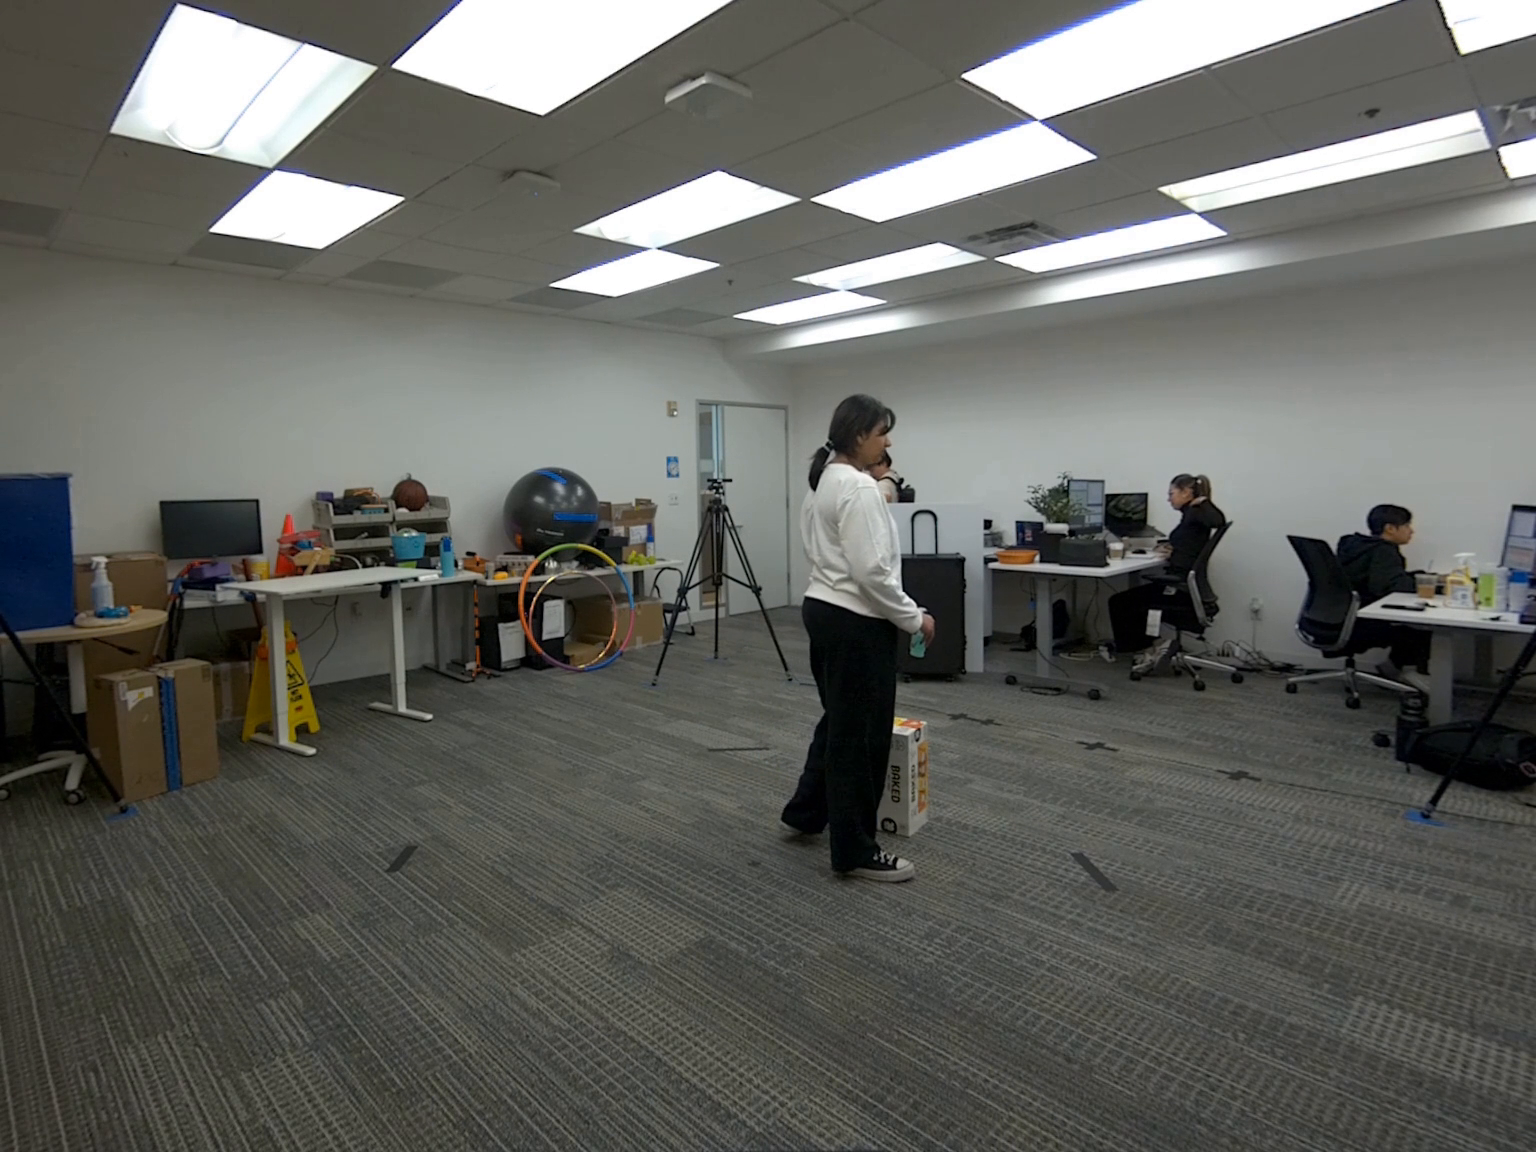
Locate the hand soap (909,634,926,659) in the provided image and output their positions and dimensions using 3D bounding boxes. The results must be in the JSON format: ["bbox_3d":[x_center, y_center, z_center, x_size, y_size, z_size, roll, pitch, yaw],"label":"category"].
[{"bbox_3d":[0.528,0.194,2.992,0.043,0.167,0.086,1,6,-10],"label":"hand soap"}]
